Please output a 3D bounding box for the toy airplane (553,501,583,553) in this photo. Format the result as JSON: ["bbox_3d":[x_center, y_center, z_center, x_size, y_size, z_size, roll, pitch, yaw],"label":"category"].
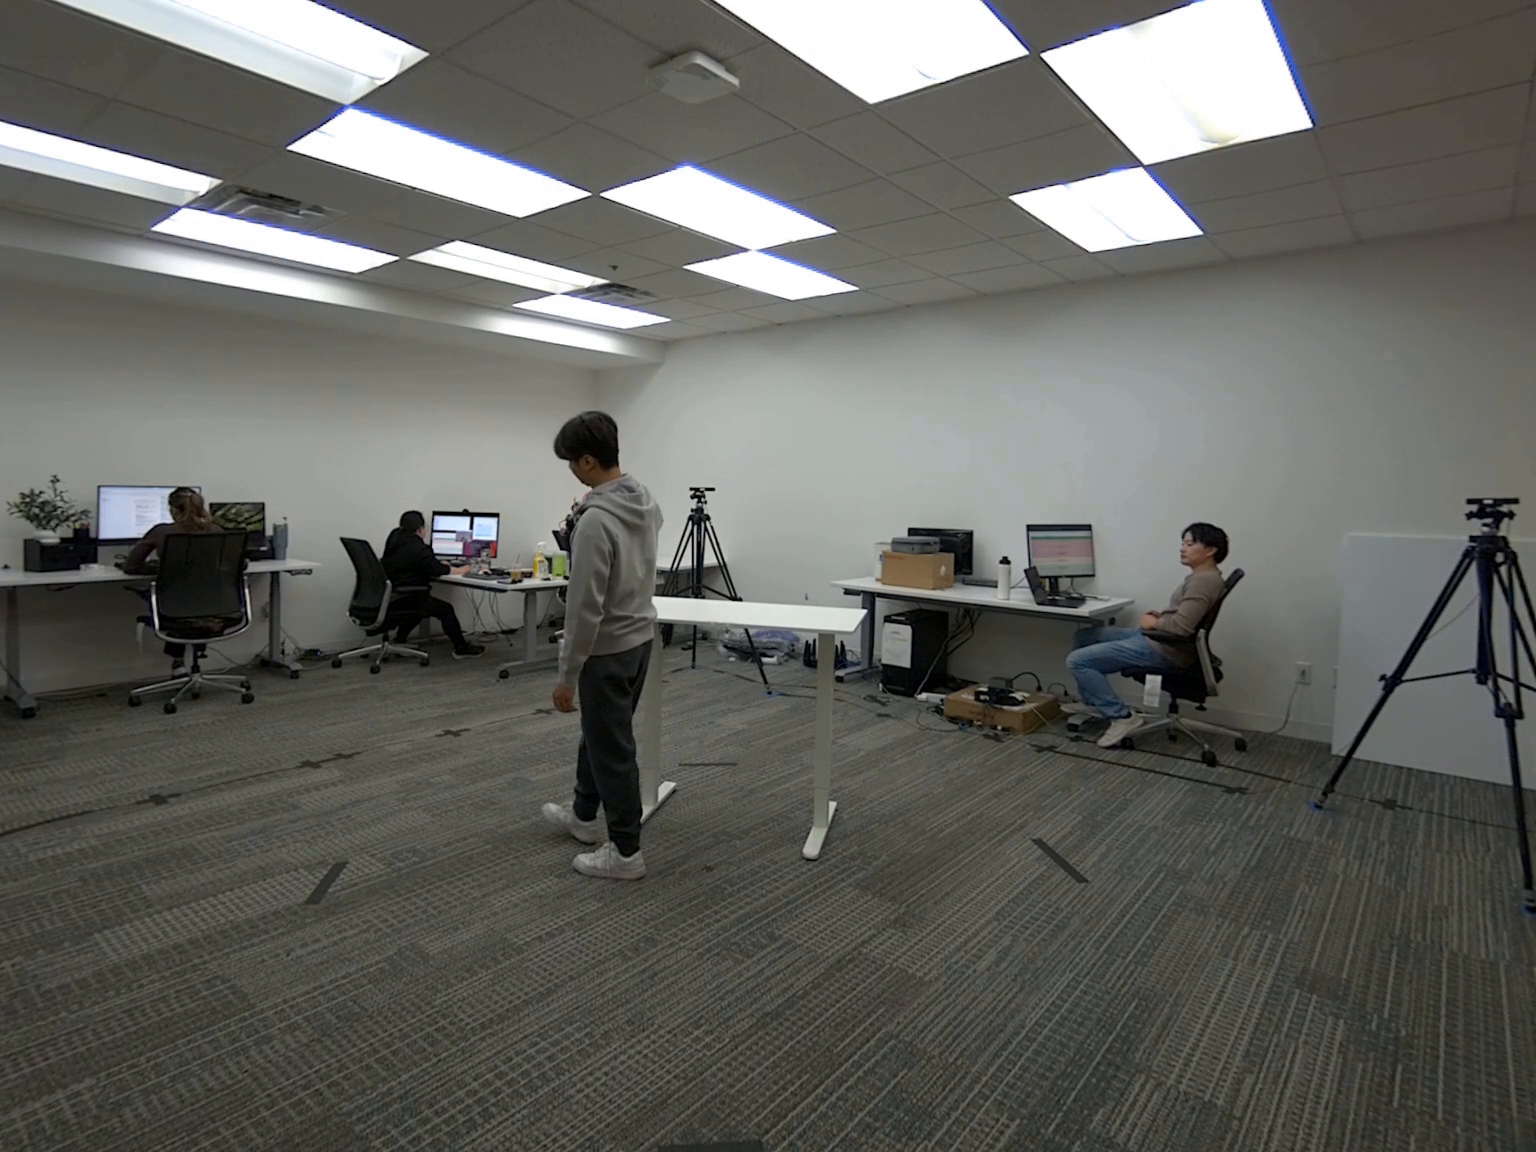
[{"bbox_3d":[-0.725,-0.288,3.694,0.256,0.152,0.261,-28,32,-32],"label":"toy airplane"}]
